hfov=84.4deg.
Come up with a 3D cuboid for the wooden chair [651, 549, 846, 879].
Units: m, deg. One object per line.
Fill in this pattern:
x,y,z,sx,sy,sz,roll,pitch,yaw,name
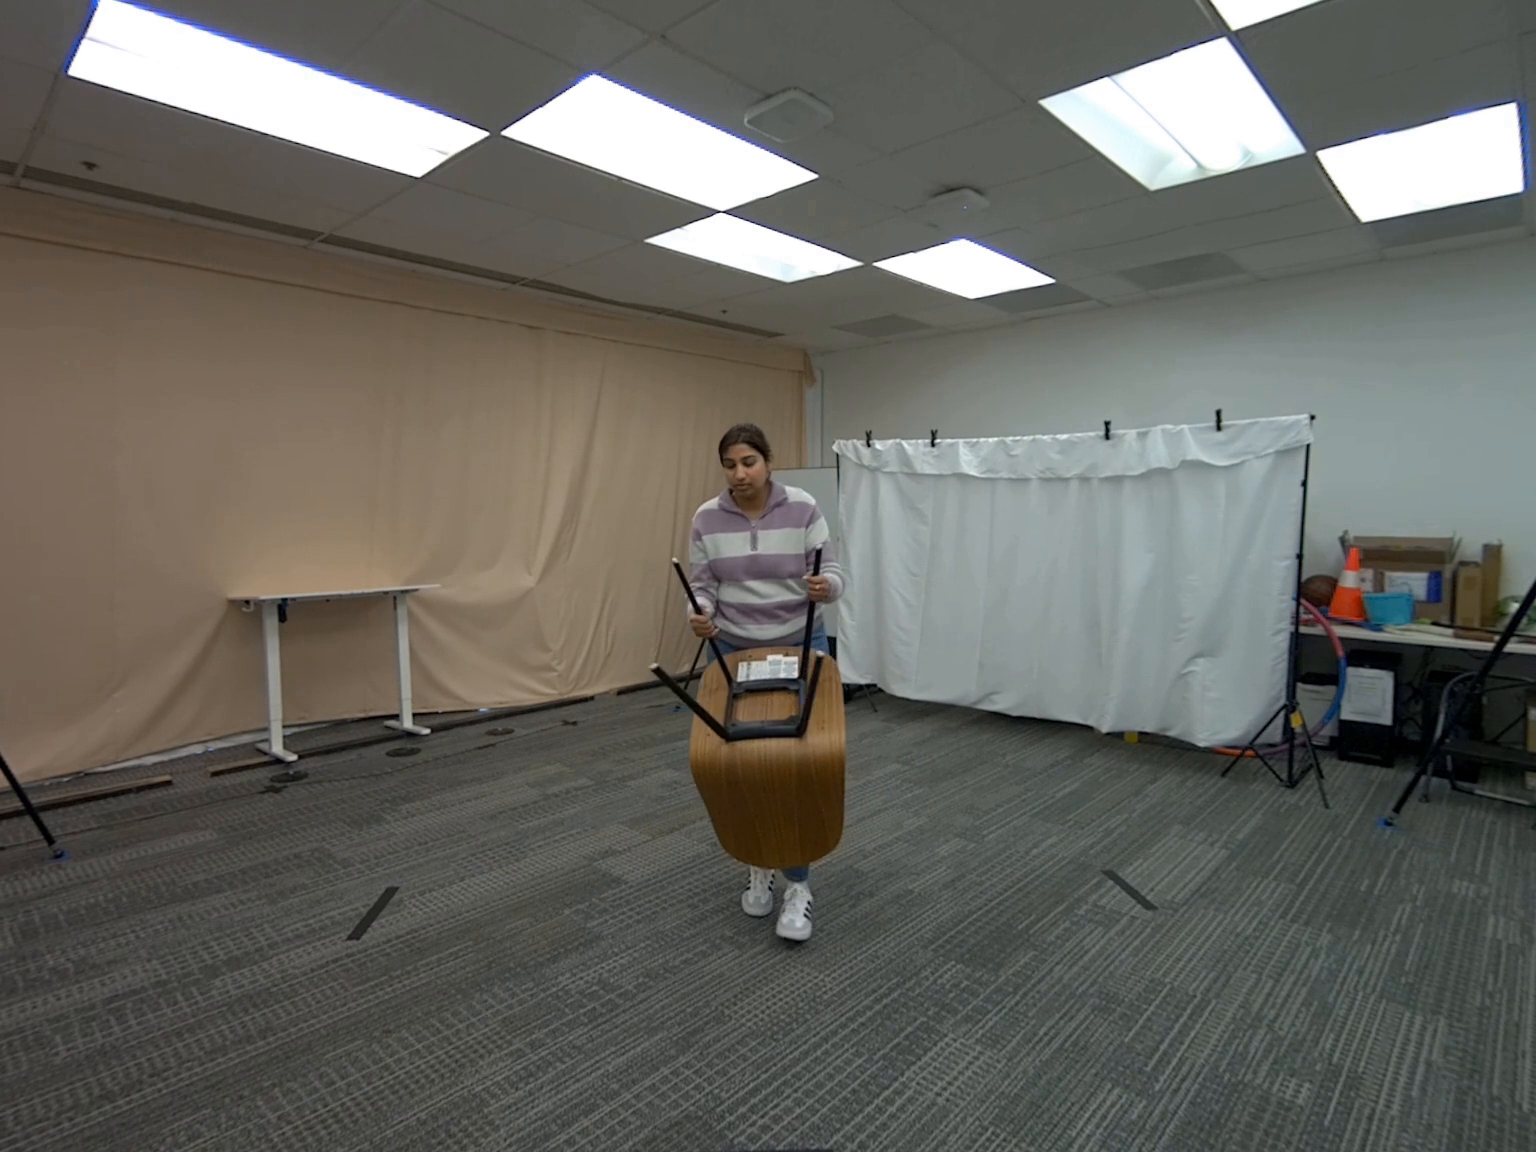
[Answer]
0.012,0.399,2.573,0.483,0.858,0.530,-5,33,8,wooden chair
